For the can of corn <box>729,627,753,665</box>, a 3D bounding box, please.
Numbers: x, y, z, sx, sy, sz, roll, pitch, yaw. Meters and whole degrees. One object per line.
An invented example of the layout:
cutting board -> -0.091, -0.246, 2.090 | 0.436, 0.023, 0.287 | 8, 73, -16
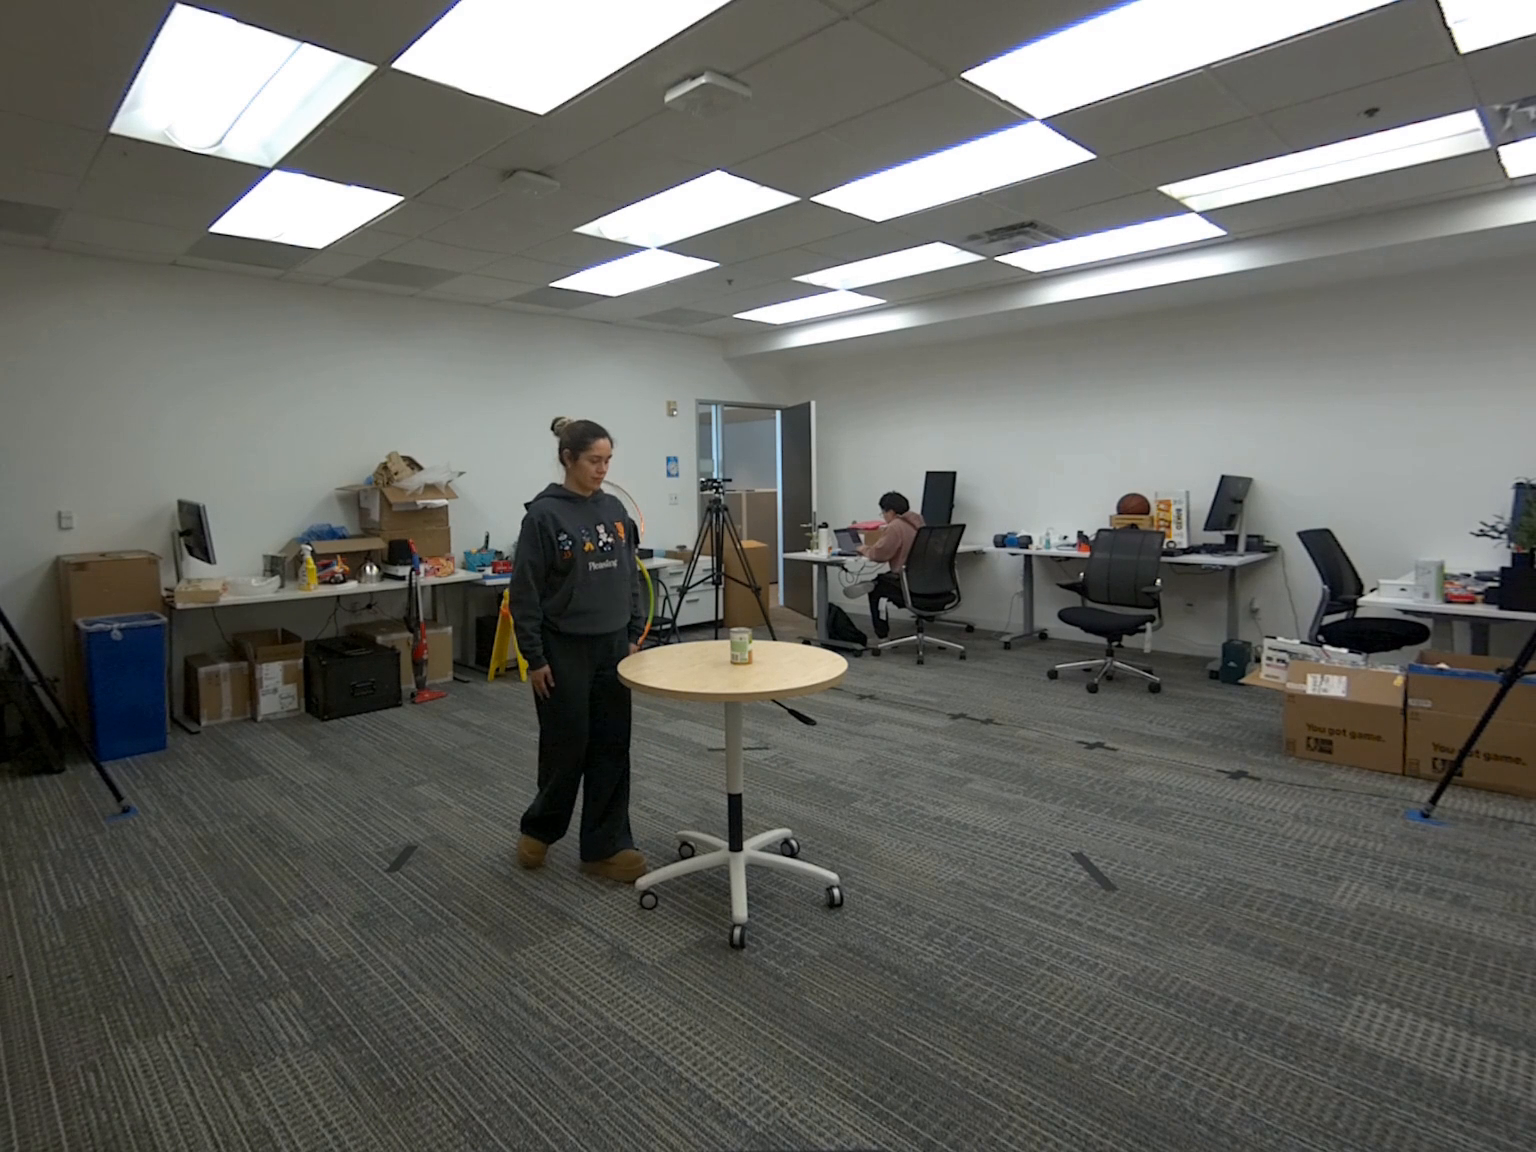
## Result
can of corn -> -0.095, 0.233, 2.841 | 0.074, 0.111, 0.074 | -2, 2, -2
